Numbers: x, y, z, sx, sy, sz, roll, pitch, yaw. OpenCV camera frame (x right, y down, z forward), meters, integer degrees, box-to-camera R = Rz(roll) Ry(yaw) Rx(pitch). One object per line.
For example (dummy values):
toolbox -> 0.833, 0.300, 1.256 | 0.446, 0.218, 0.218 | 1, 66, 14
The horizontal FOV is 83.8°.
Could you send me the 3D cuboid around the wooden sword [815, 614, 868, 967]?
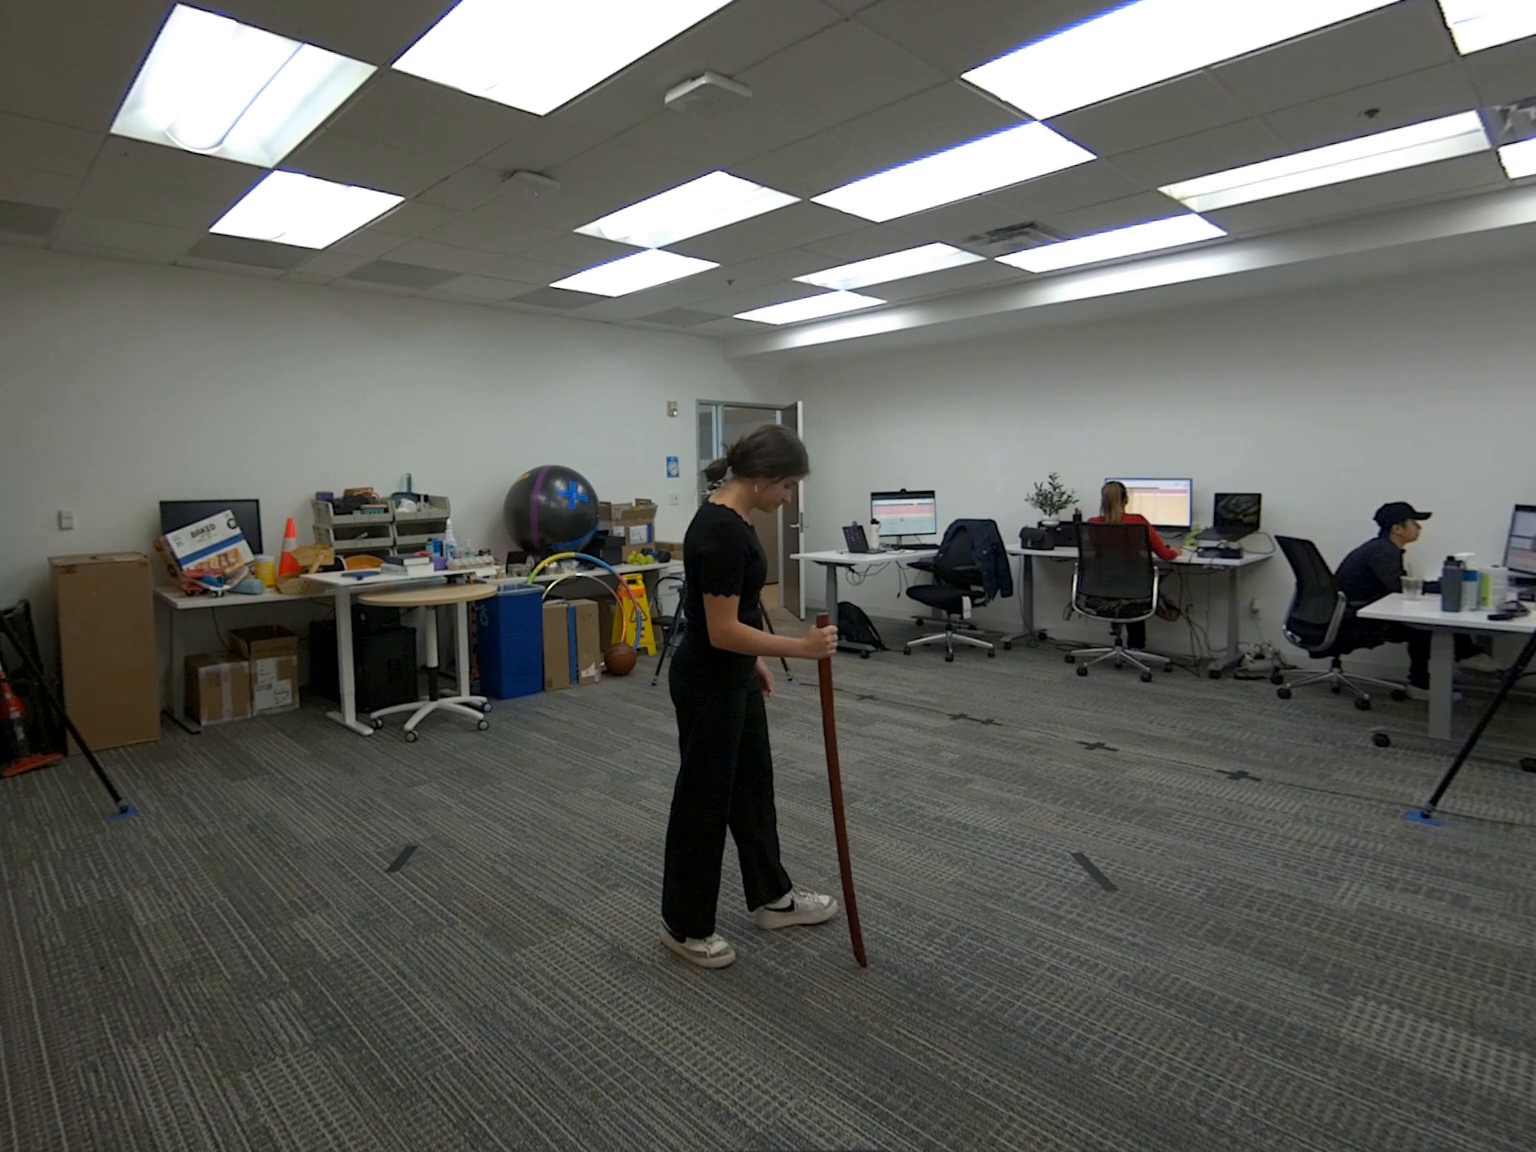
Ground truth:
wooden sword -> 0.193, 0.627, 2.407 | 0.051, 1.019, 0.024 | -10, 6, -16
